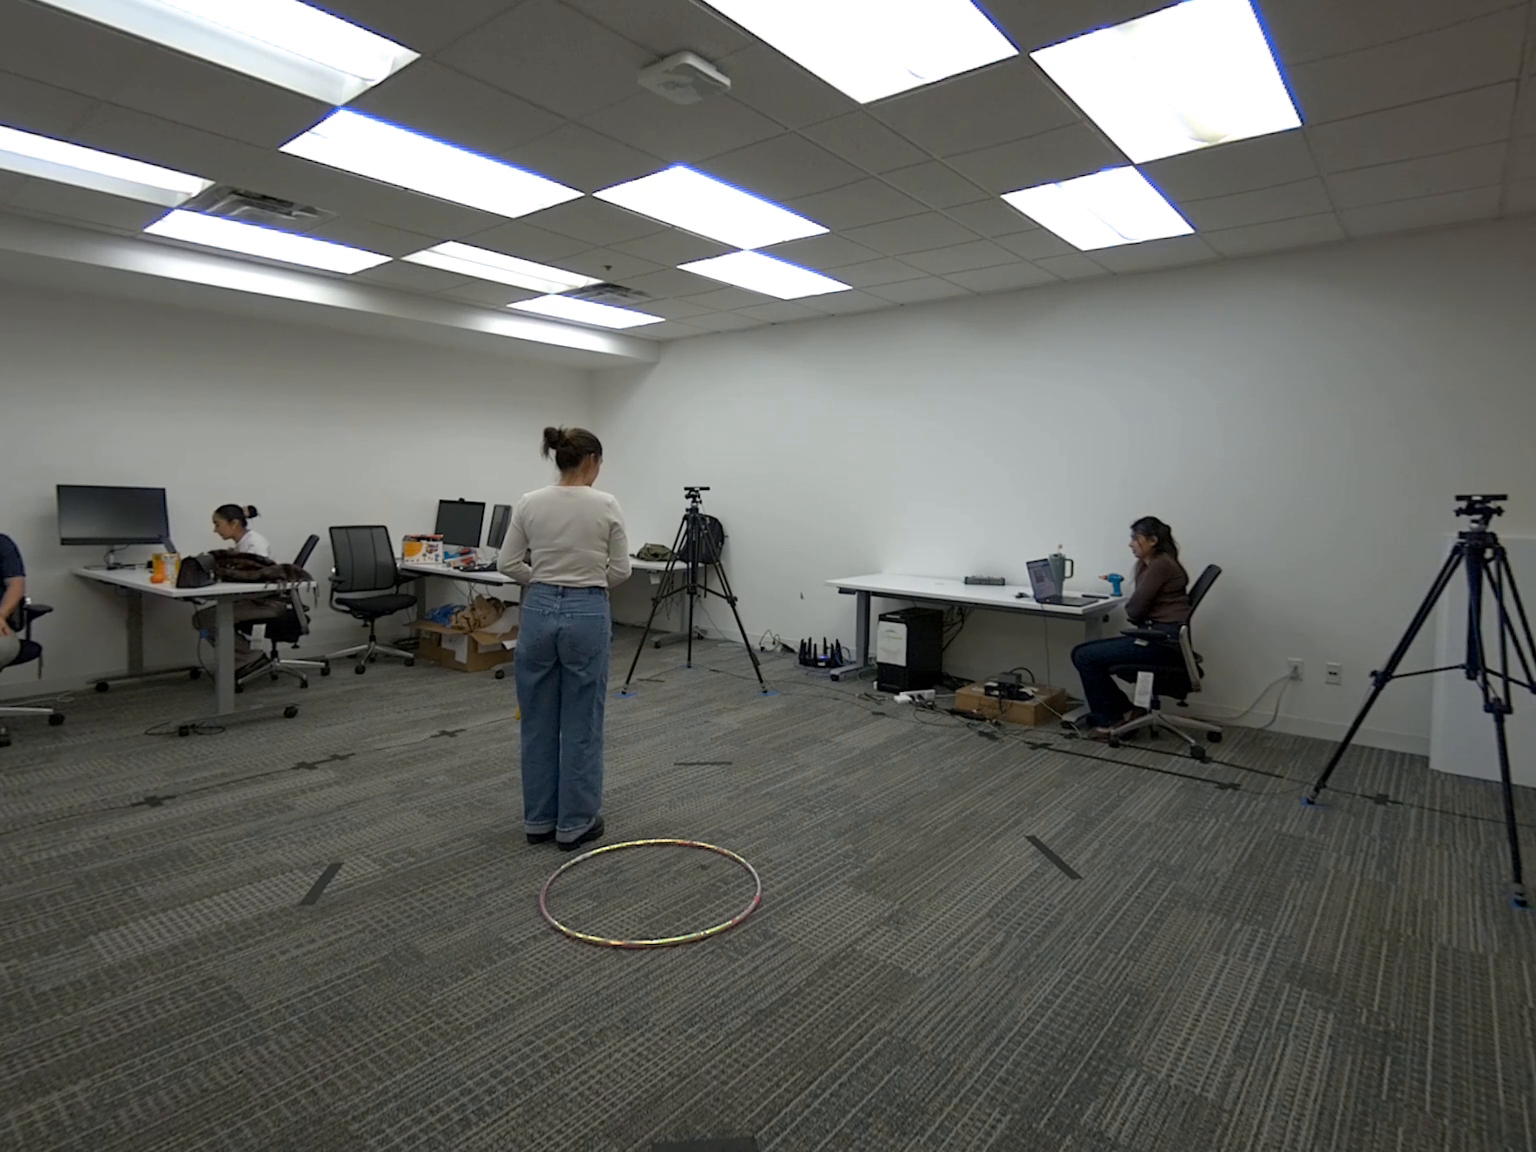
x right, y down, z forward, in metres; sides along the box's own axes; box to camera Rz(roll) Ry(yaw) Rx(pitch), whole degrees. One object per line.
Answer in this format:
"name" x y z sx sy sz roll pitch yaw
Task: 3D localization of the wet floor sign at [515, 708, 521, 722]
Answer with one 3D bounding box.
"wet floor sign" -0.867 0.364 3.564 0.275 0.639 0.300 4 16 -26
